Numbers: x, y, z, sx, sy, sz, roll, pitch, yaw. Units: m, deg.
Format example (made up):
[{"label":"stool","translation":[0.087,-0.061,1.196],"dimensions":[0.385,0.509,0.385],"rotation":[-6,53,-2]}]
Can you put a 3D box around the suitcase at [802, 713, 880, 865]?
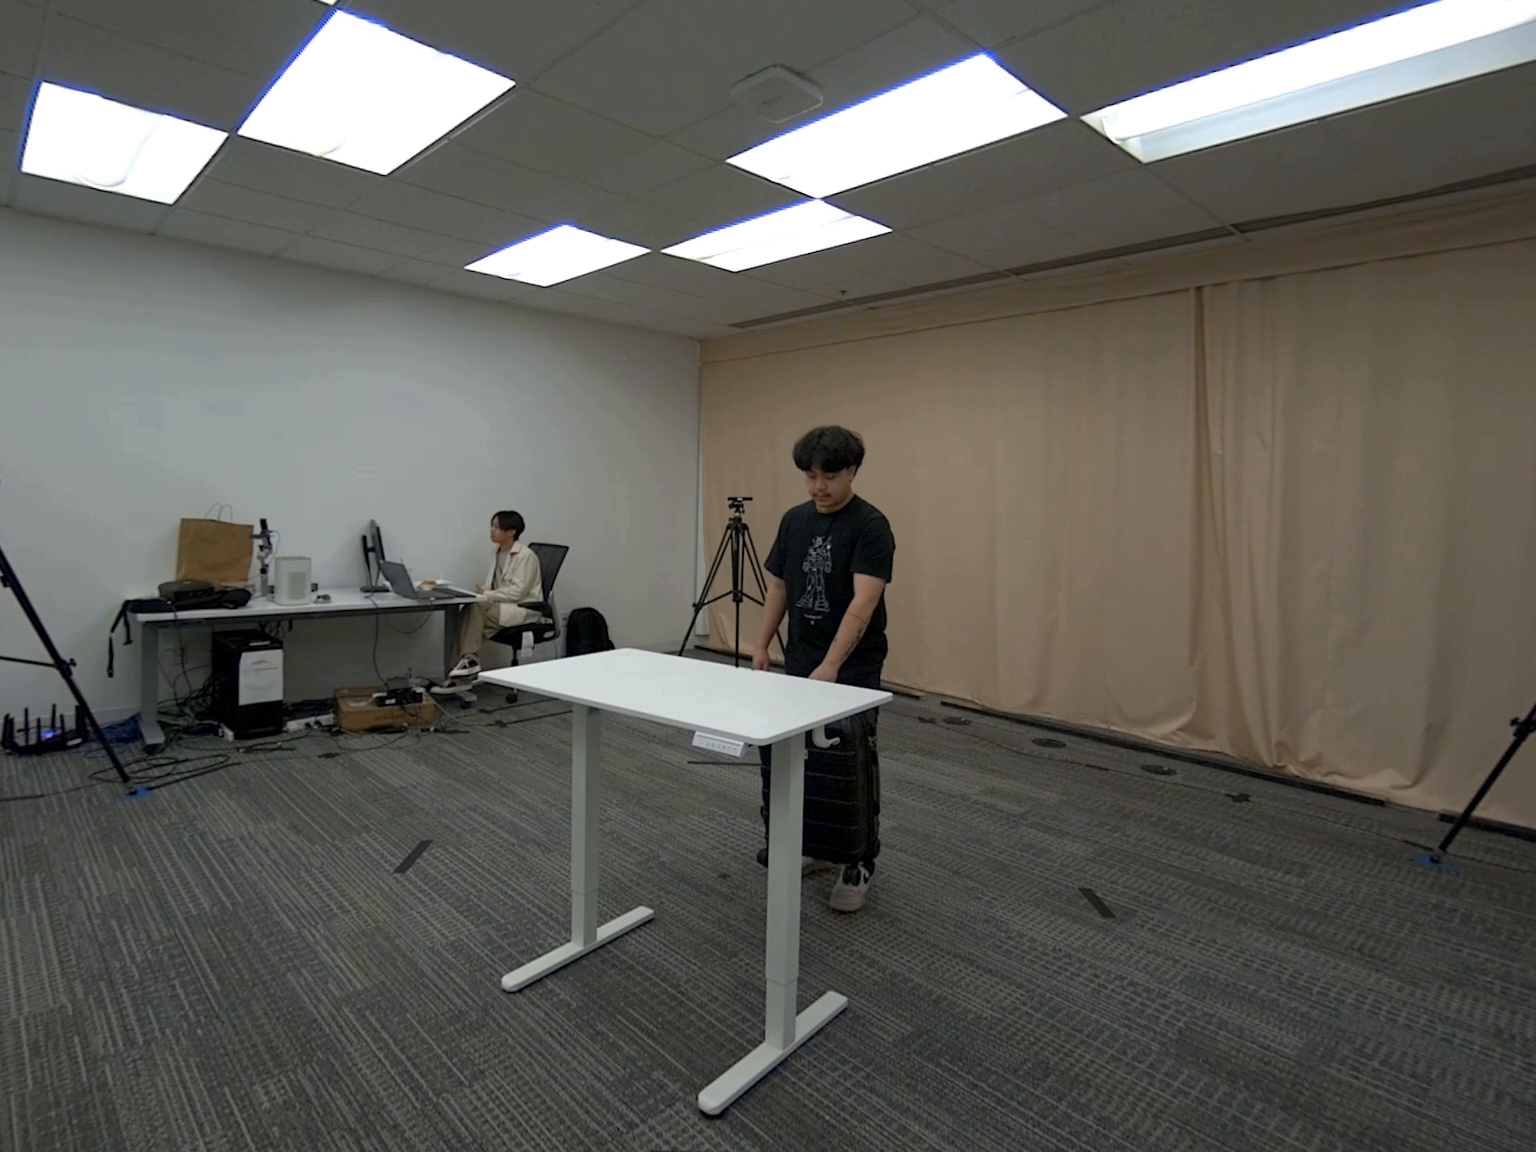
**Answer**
[{"label":"suitcase","translation":[0.175,0.680,2.800],"dimensions":[0.383,0.547,0.244],"rotation":[1,6,28]}]
